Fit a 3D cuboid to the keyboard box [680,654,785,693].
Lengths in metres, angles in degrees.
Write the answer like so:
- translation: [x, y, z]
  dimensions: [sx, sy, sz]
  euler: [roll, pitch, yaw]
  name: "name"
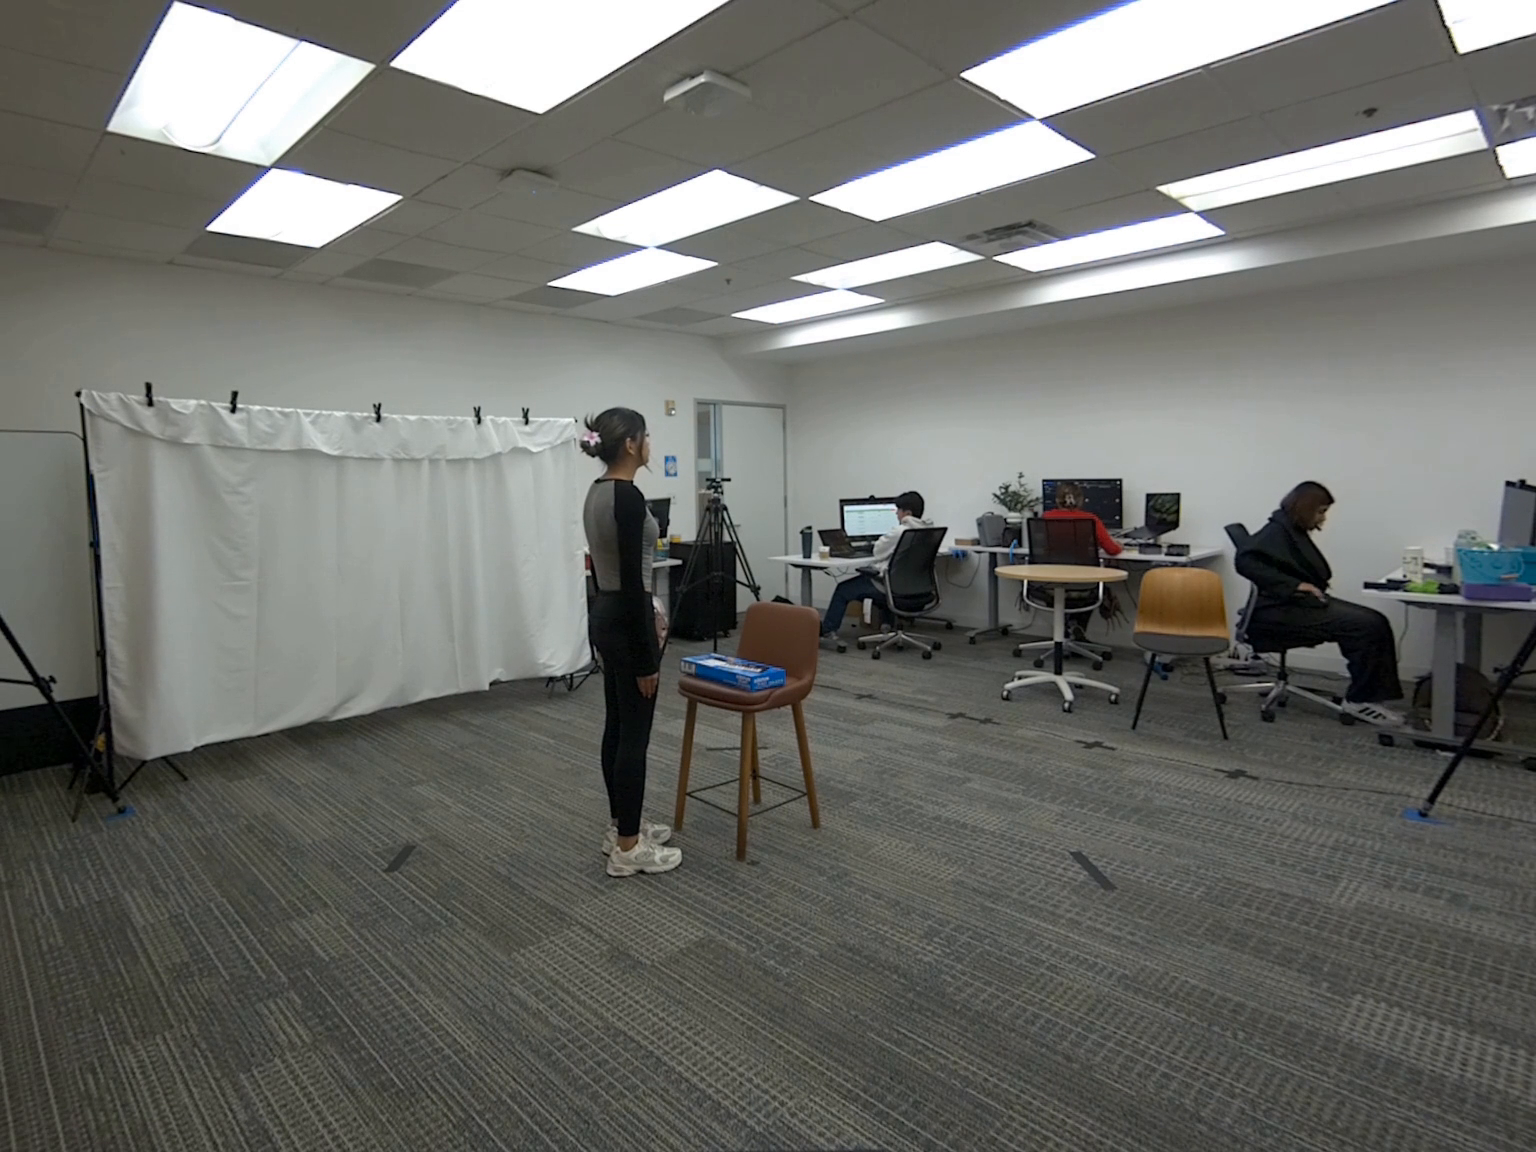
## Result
- translation: [-0.146, 0.372, 3.343]
  dimensions: [0.171, 0.059, 0.450]
  euler: [-6, 8, -41]
  name: "keyboard box"
